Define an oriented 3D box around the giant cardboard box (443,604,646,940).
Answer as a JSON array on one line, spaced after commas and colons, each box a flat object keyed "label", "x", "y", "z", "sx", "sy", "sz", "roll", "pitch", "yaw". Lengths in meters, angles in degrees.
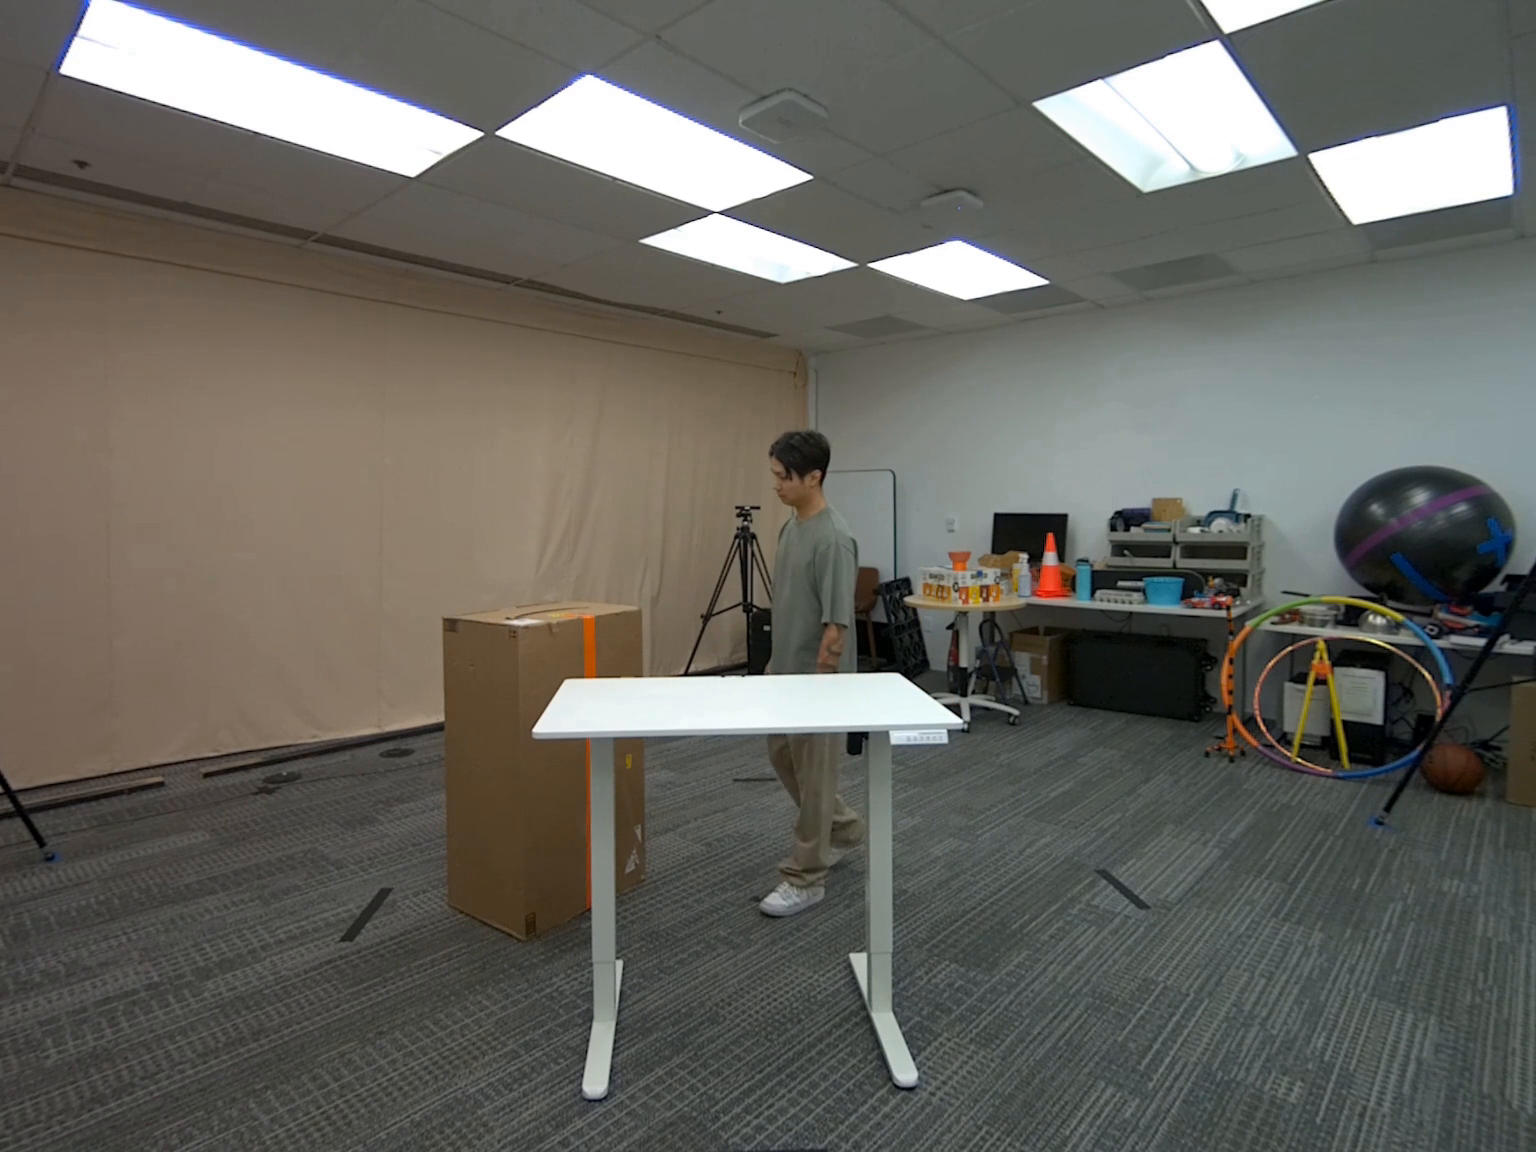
[{"label": "giant cardboard box", "x": -0.792, "y": 0.641, "z": 3.029, "sx": 0.440, "sy": 1.024, "sz": 0.560, "roll": 2, "pitch": 3, "yaw": 36}]
